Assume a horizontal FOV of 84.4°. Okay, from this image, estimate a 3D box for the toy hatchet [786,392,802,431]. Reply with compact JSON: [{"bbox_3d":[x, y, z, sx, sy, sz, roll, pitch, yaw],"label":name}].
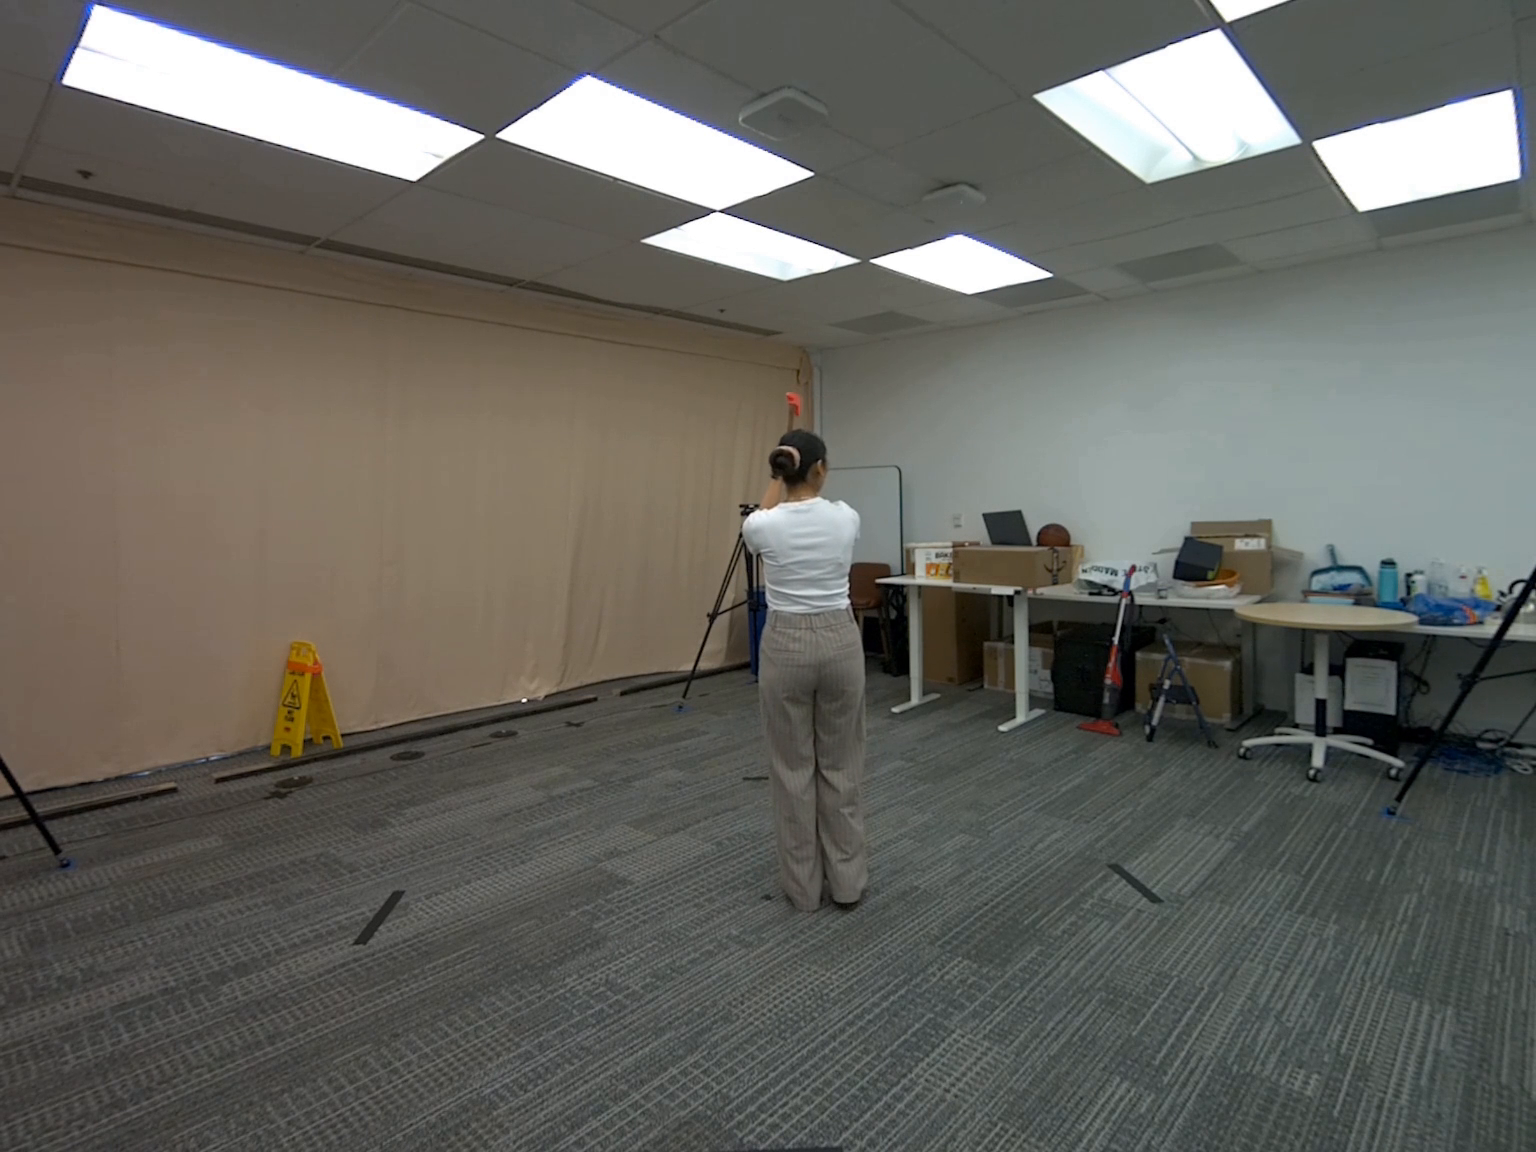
[{"bbox_3d":[0.106,-0.567,3.204,0.030,0.268,0.129,4,11,19],"label":"toy hatchet"}]
